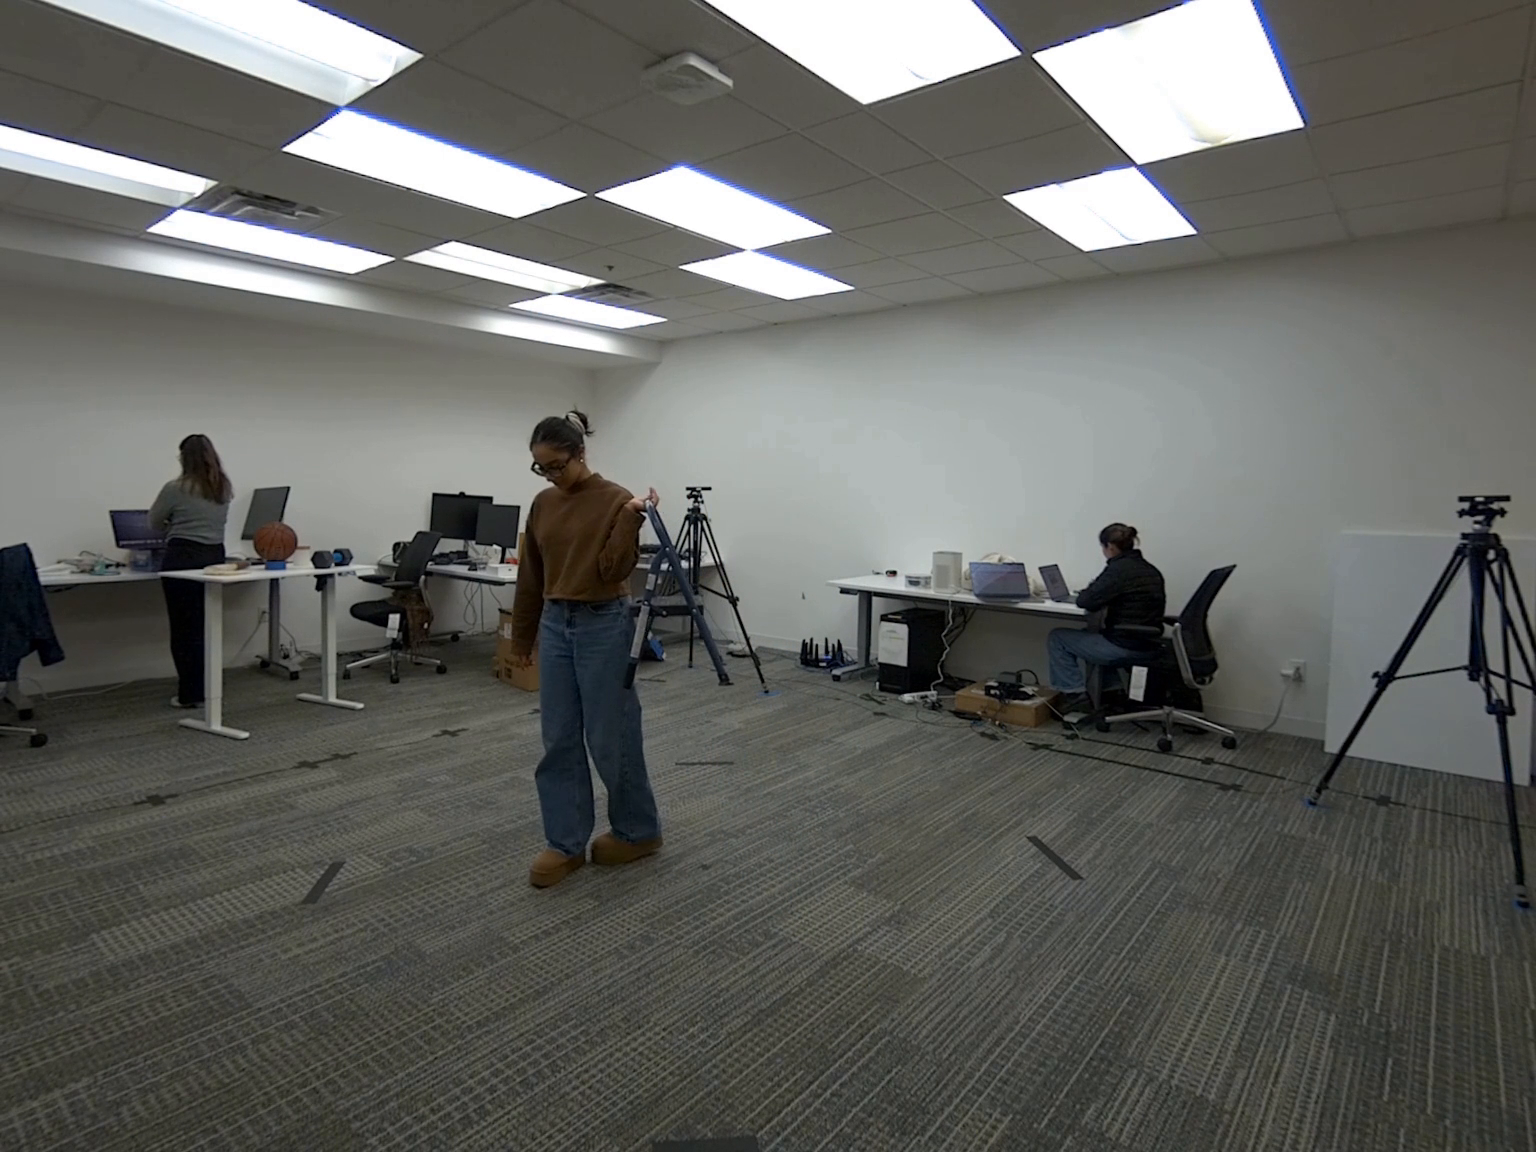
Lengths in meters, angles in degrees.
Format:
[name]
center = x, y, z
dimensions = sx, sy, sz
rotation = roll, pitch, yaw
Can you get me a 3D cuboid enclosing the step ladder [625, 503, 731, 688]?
[step ladder]
center = -0.315, 0.044, 2.902
dimensions = 0.348, 0.606, 0.433
rotation = -3, 1, -5
